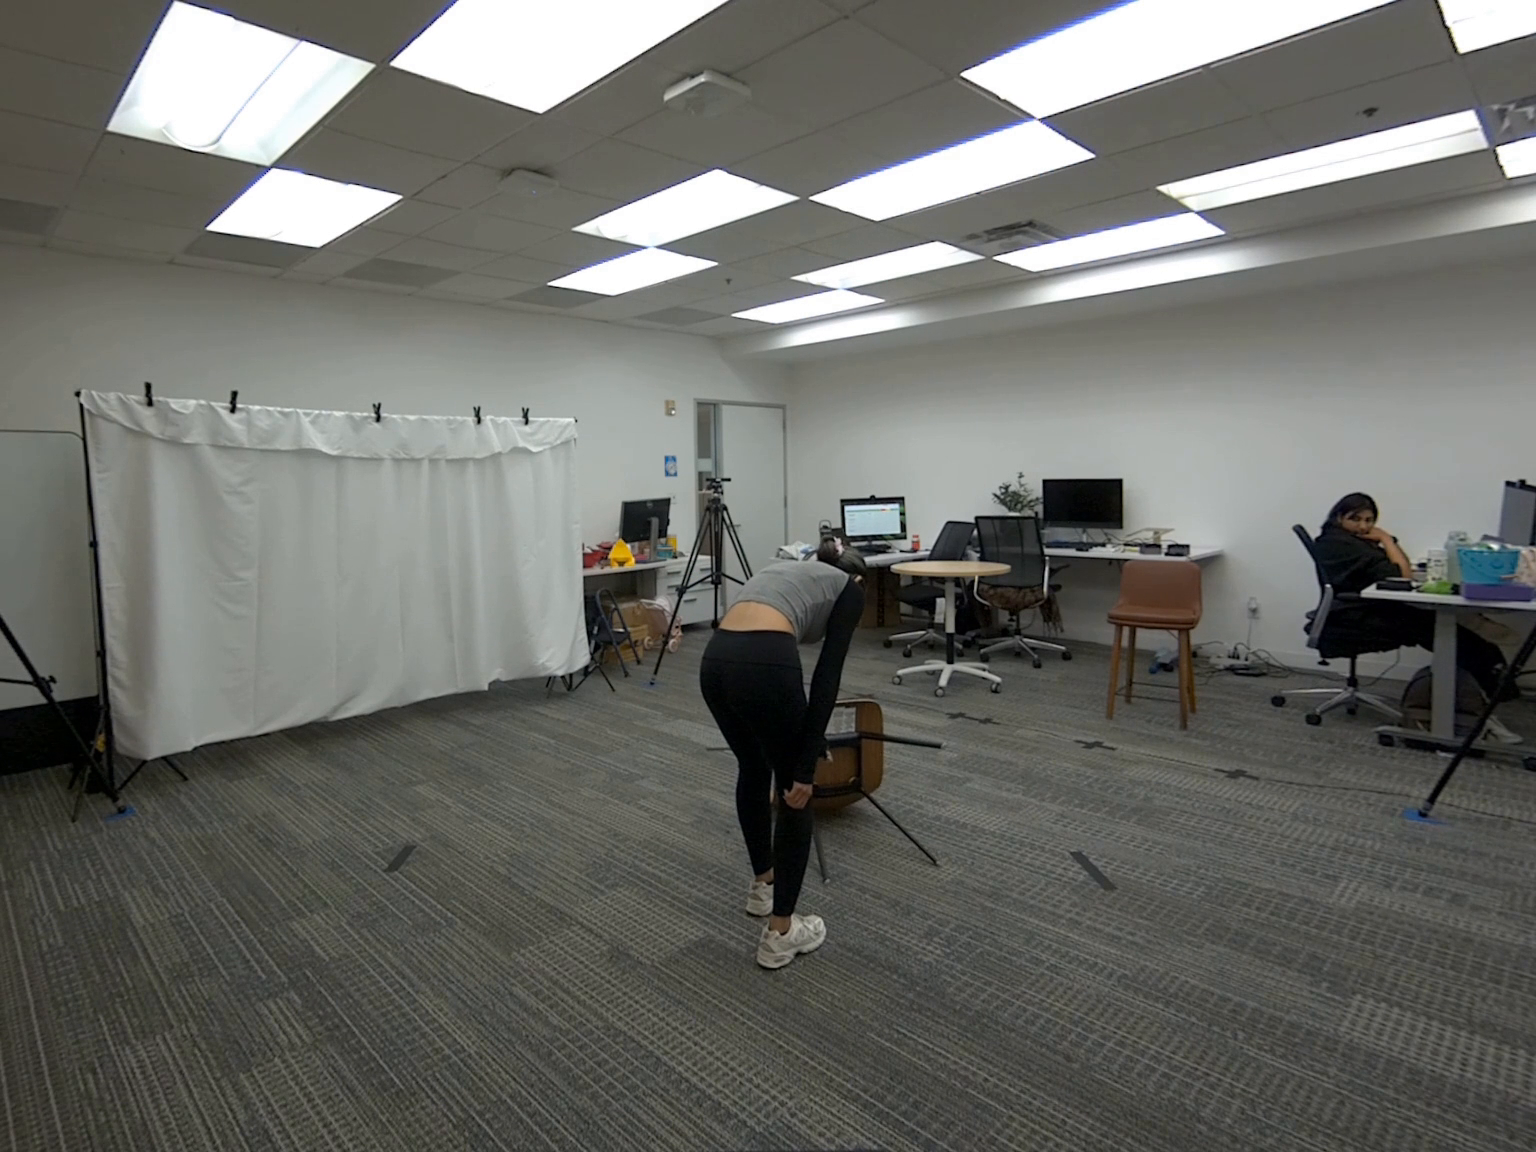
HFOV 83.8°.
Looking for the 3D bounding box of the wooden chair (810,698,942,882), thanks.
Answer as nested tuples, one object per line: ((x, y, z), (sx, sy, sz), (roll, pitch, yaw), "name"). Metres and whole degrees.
((0.264, 0.746, 3.364), (0.470, 0.521, 0.894), (-2, 5, -19), "wooden chair")
